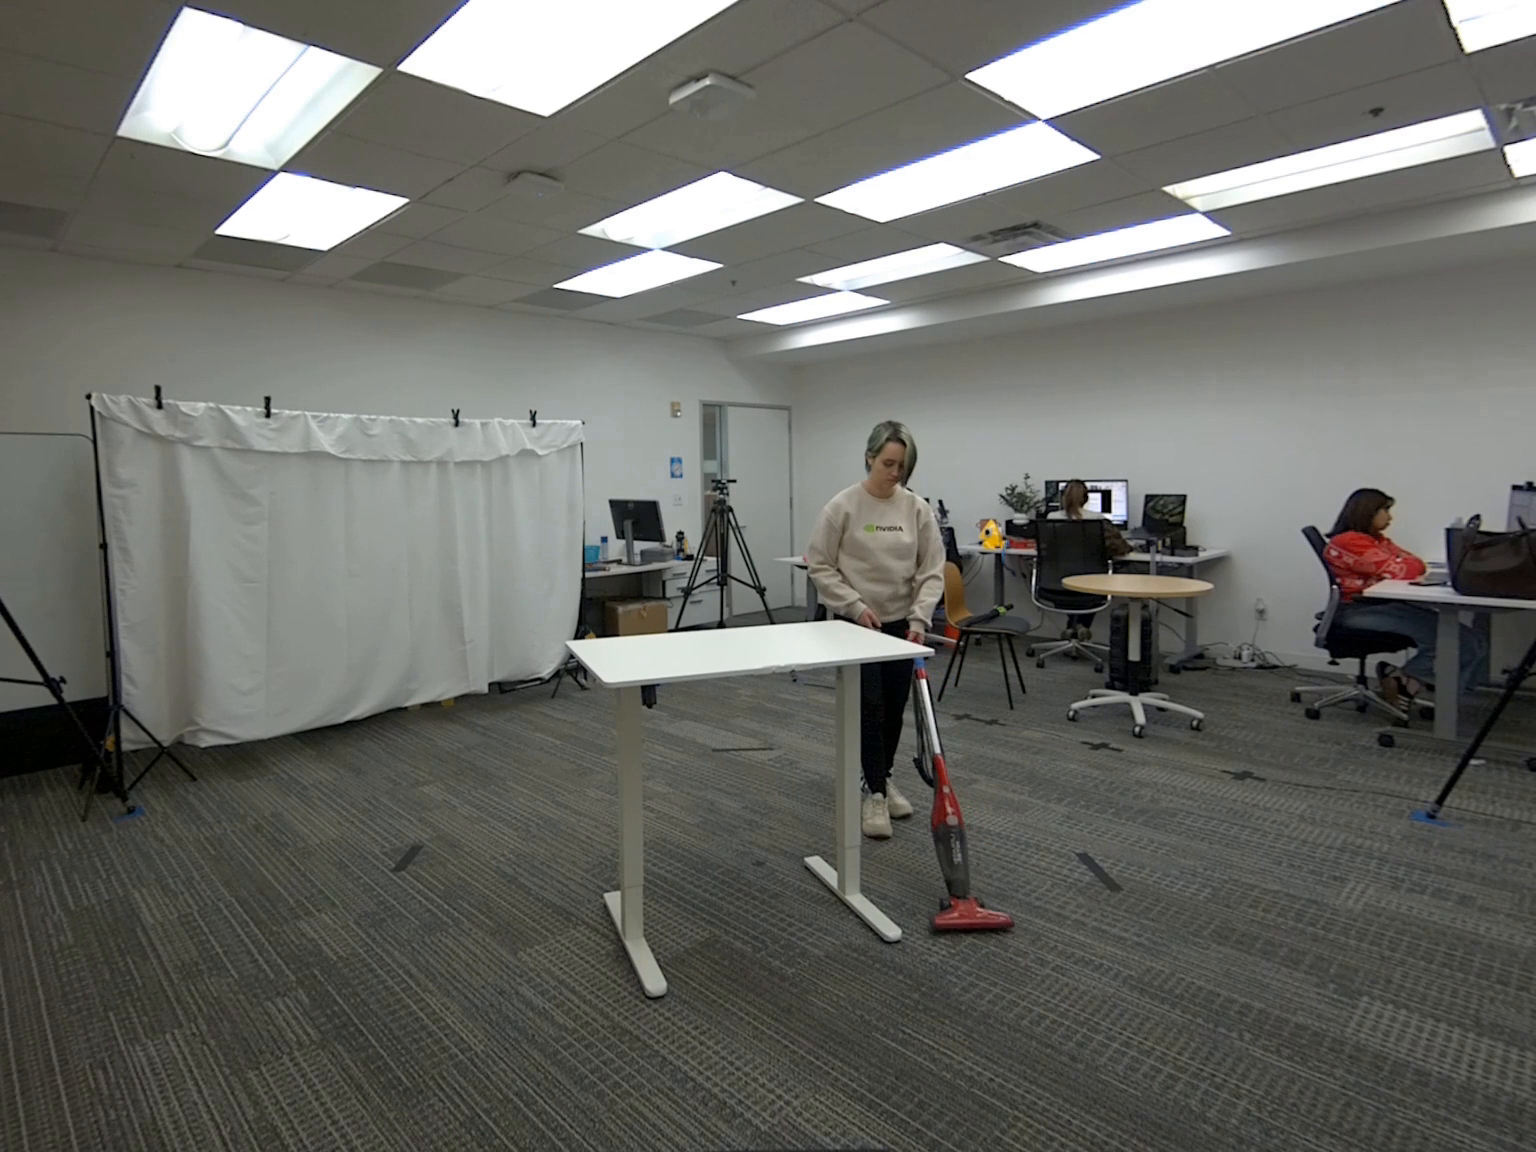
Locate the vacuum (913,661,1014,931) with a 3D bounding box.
[{"bbox_3d":[0.589,0.651,3.007,0.250,1.080,0.141,2,-40,-9],"label":"vacuum"}]
